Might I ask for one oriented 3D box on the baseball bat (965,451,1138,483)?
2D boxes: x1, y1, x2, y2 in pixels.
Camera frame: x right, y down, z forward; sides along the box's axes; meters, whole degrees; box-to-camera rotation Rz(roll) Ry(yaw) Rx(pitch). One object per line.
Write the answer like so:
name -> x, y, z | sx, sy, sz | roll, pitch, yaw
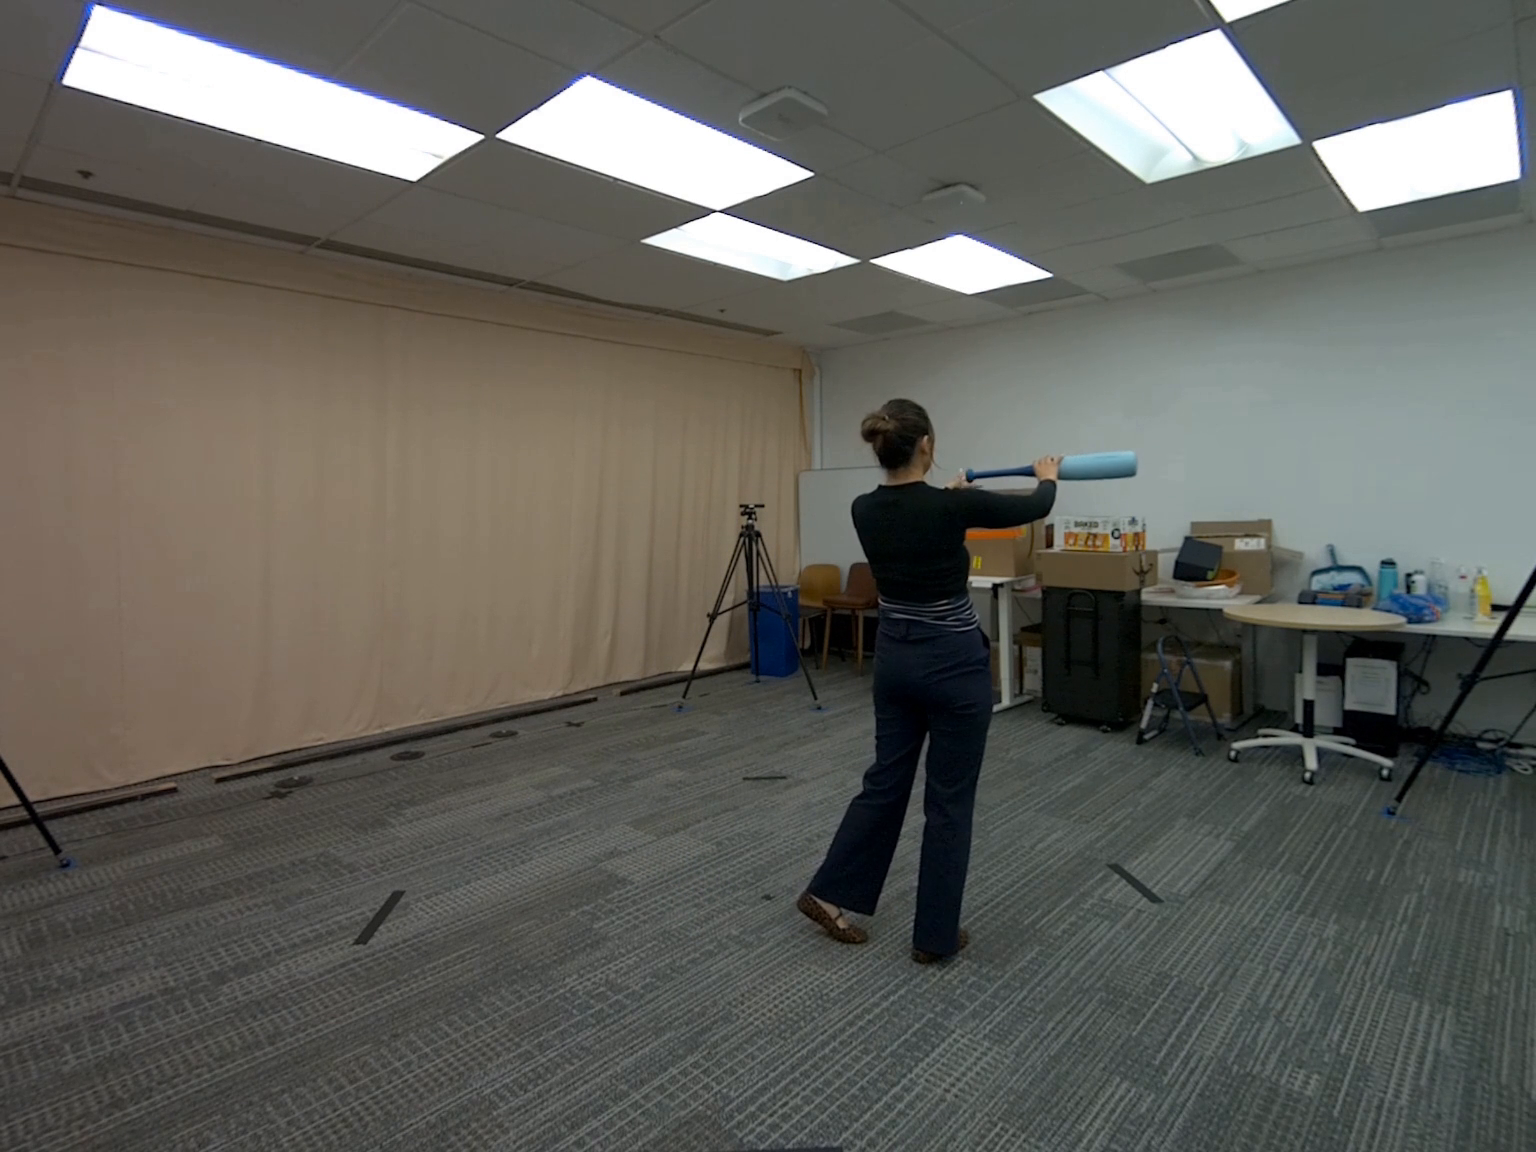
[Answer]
baseball bat -> 0.957, -0.360, 2.851 | 0.557, 0.089, 0.087 | -2, 3, 26
